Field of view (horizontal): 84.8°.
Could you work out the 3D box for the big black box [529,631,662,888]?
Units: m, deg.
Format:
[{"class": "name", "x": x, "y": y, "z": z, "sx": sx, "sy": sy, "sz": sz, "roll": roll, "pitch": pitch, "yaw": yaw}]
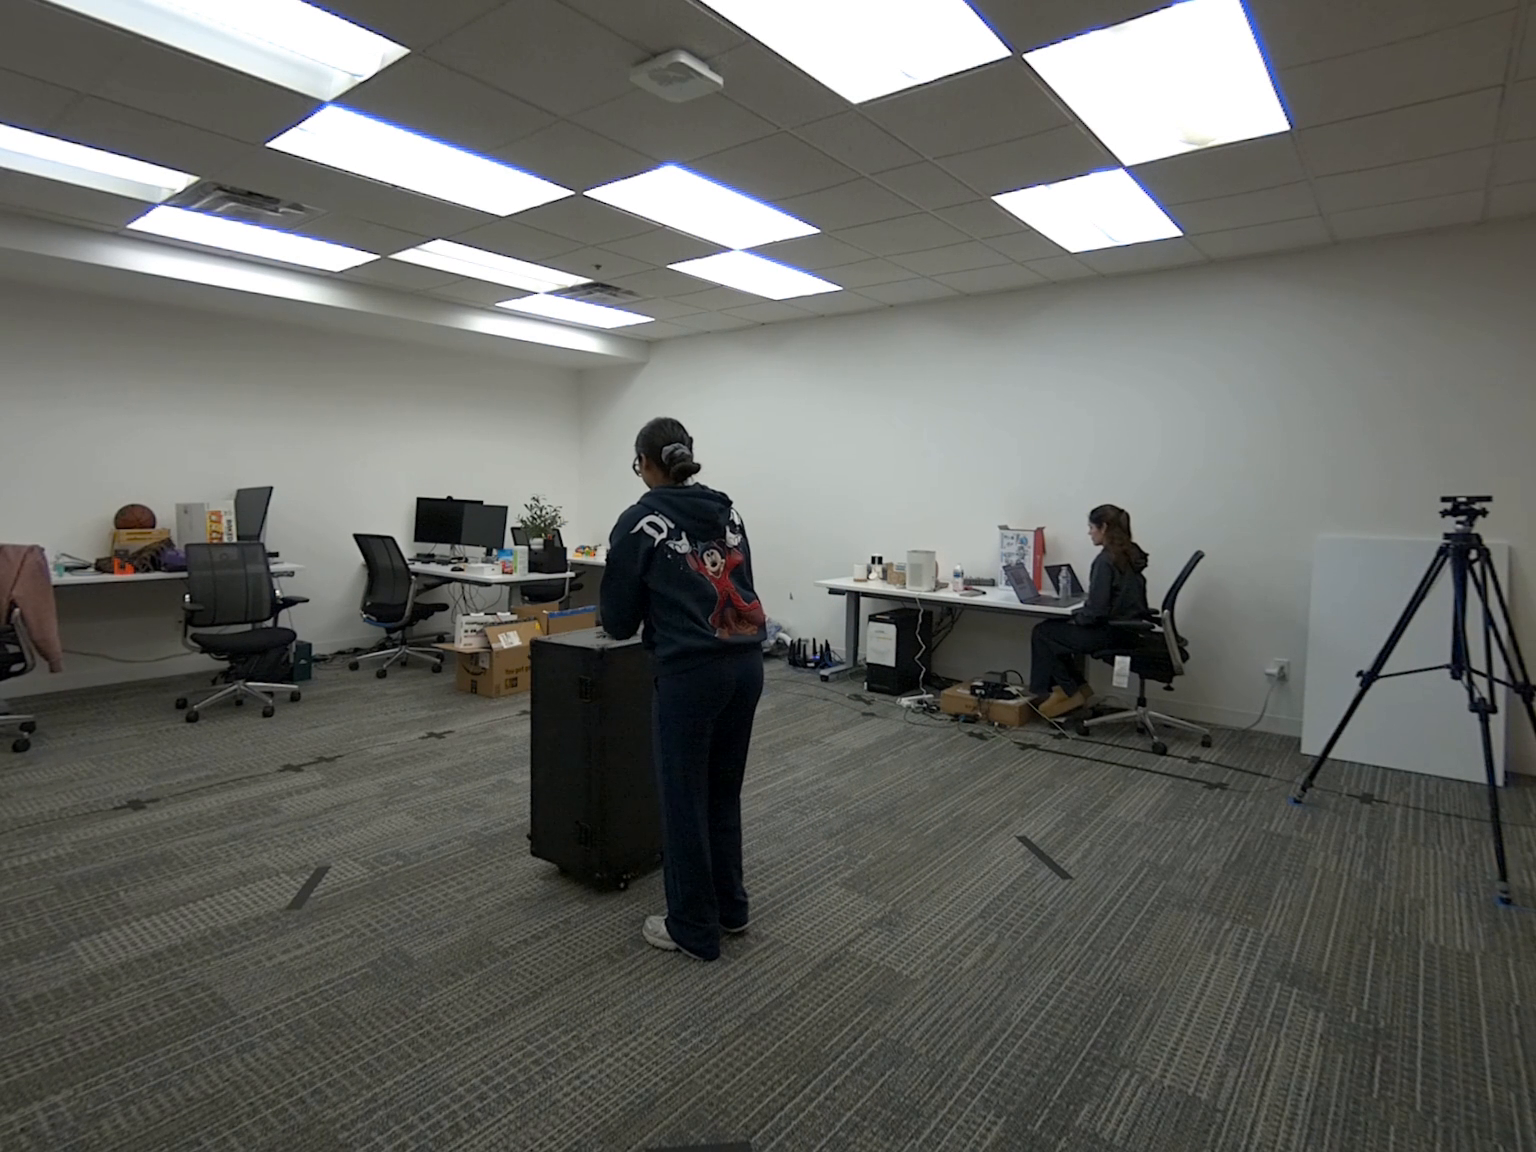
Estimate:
[{"class": "big black box", "x": -0.591, "y": 0.637, "z": 3.106, "sx": 0.409, "sy": 0.860, "sz": 0.506, "roll": 1, "pitch": 3, "yaw": 37}]
